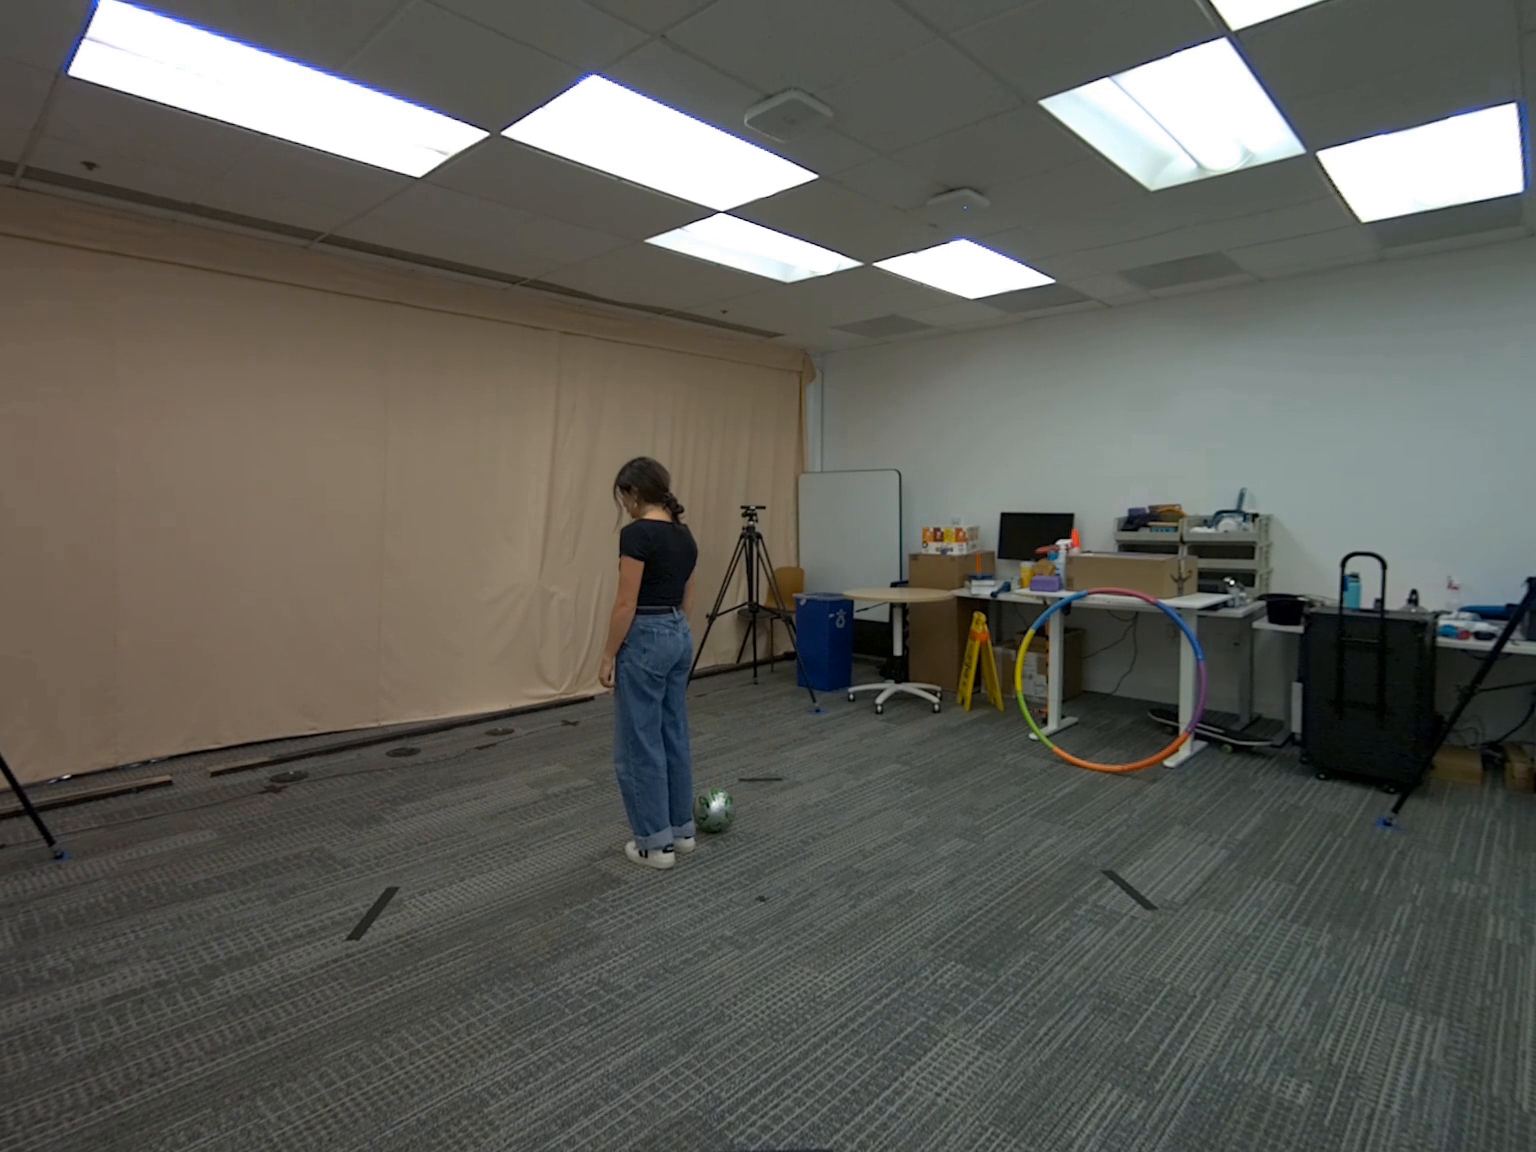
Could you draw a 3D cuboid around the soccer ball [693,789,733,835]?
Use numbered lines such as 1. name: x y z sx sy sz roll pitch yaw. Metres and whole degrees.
1. soccer ball: -0.225 1.004 3.602 0.187 0.187 0.188 0 4 -2
